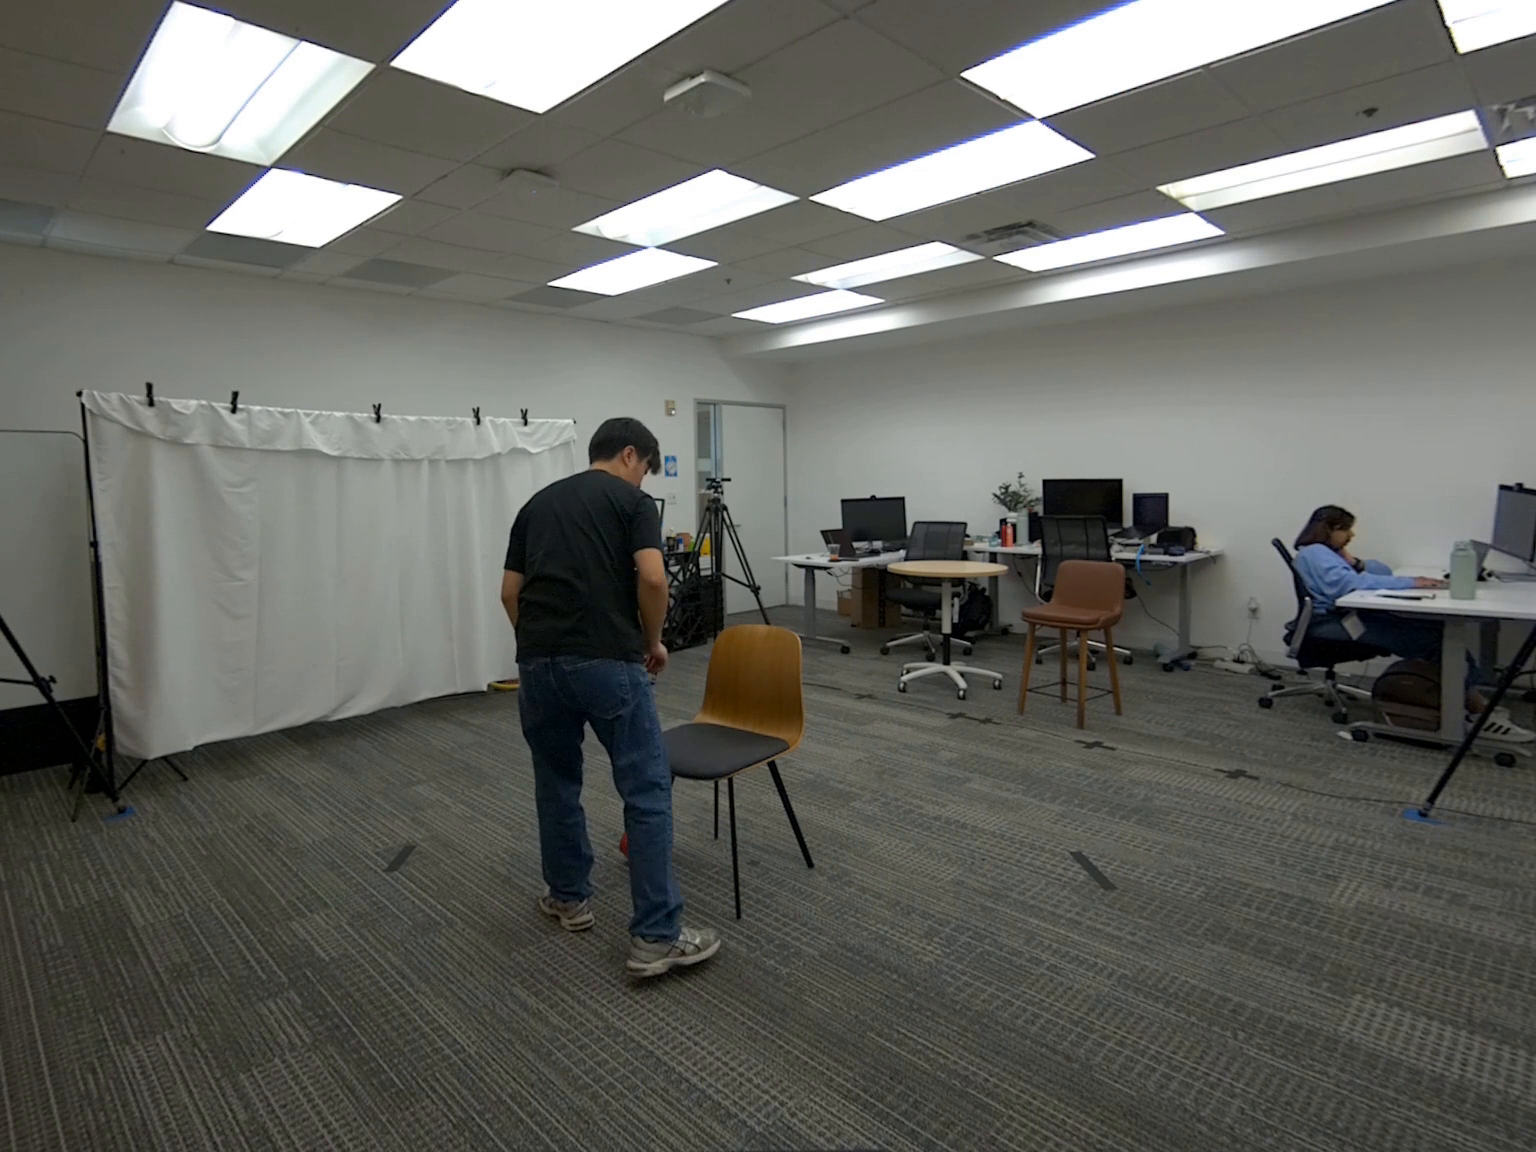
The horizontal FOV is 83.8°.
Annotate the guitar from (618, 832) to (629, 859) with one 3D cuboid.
[{"bbox_3d":[-0.440,0.805,3.103,0.073,0.490,0.189,20,23,38],"label":"guitar"}]
